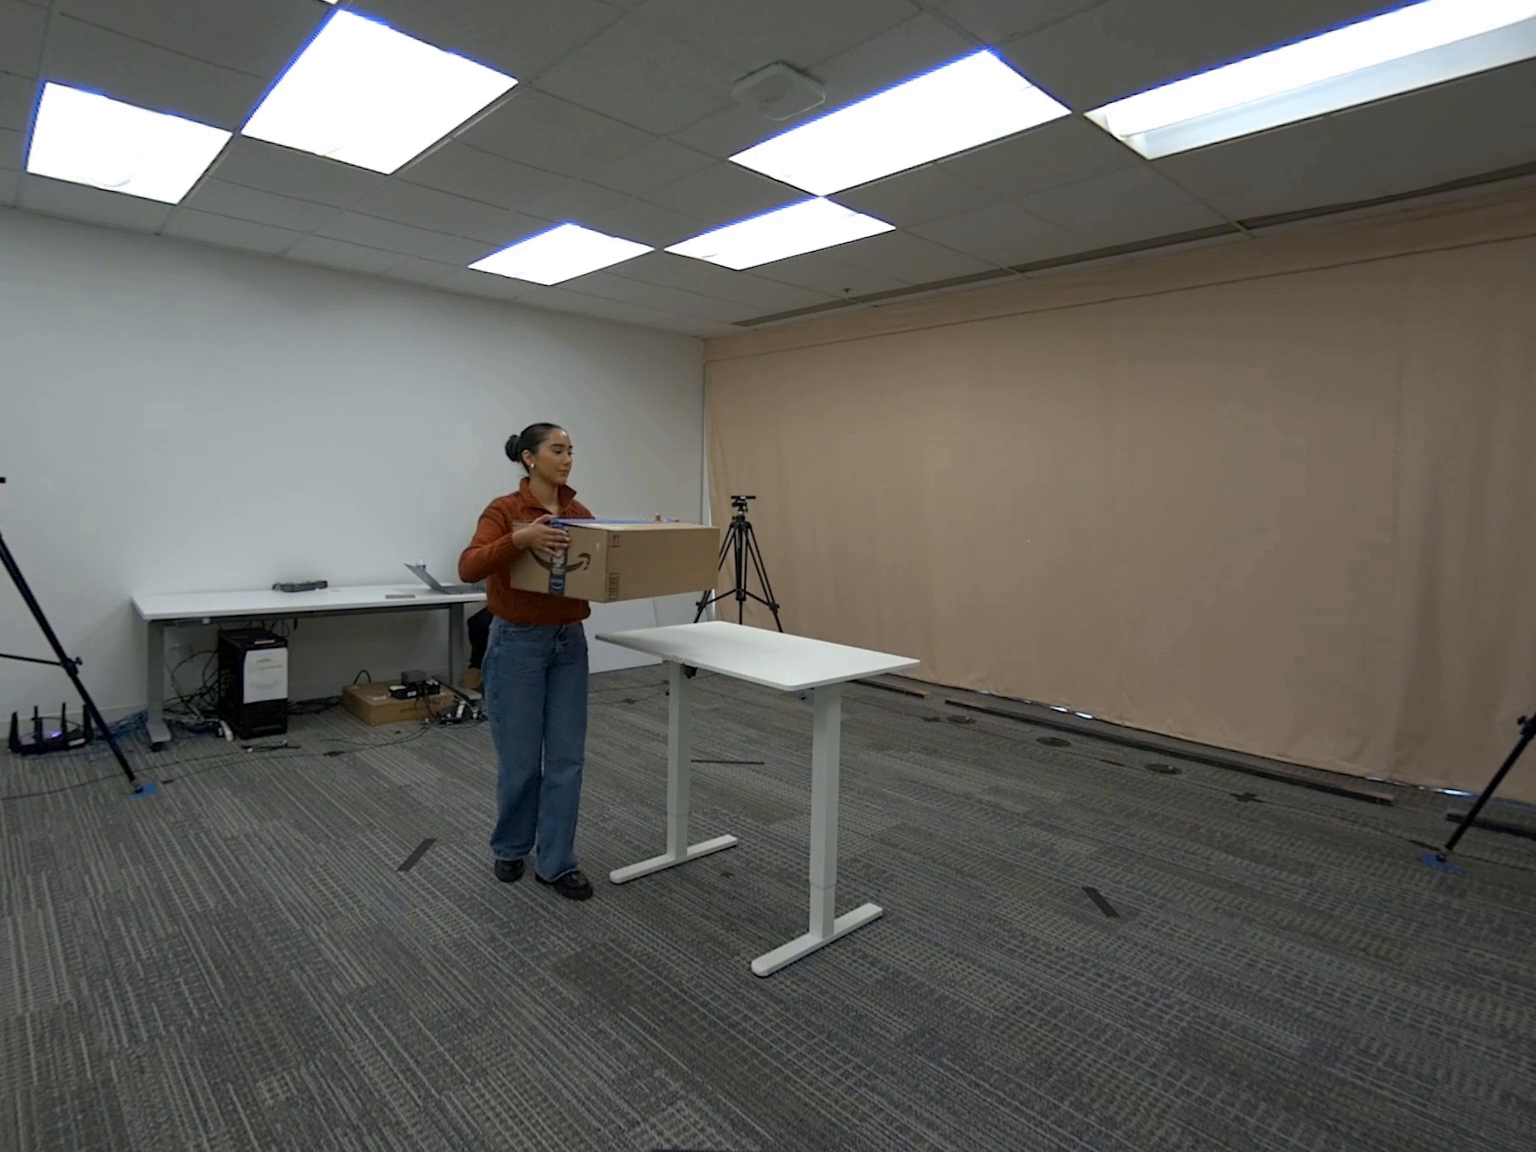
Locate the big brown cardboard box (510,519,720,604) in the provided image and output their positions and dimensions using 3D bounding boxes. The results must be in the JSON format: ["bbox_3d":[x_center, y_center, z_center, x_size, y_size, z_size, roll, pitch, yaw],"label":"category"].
[{"bbox_3d":[-0.506,-0.065,2.767,0.428,0.232,0.576,7,6,33],"label":"big brown cardboard box"}]
